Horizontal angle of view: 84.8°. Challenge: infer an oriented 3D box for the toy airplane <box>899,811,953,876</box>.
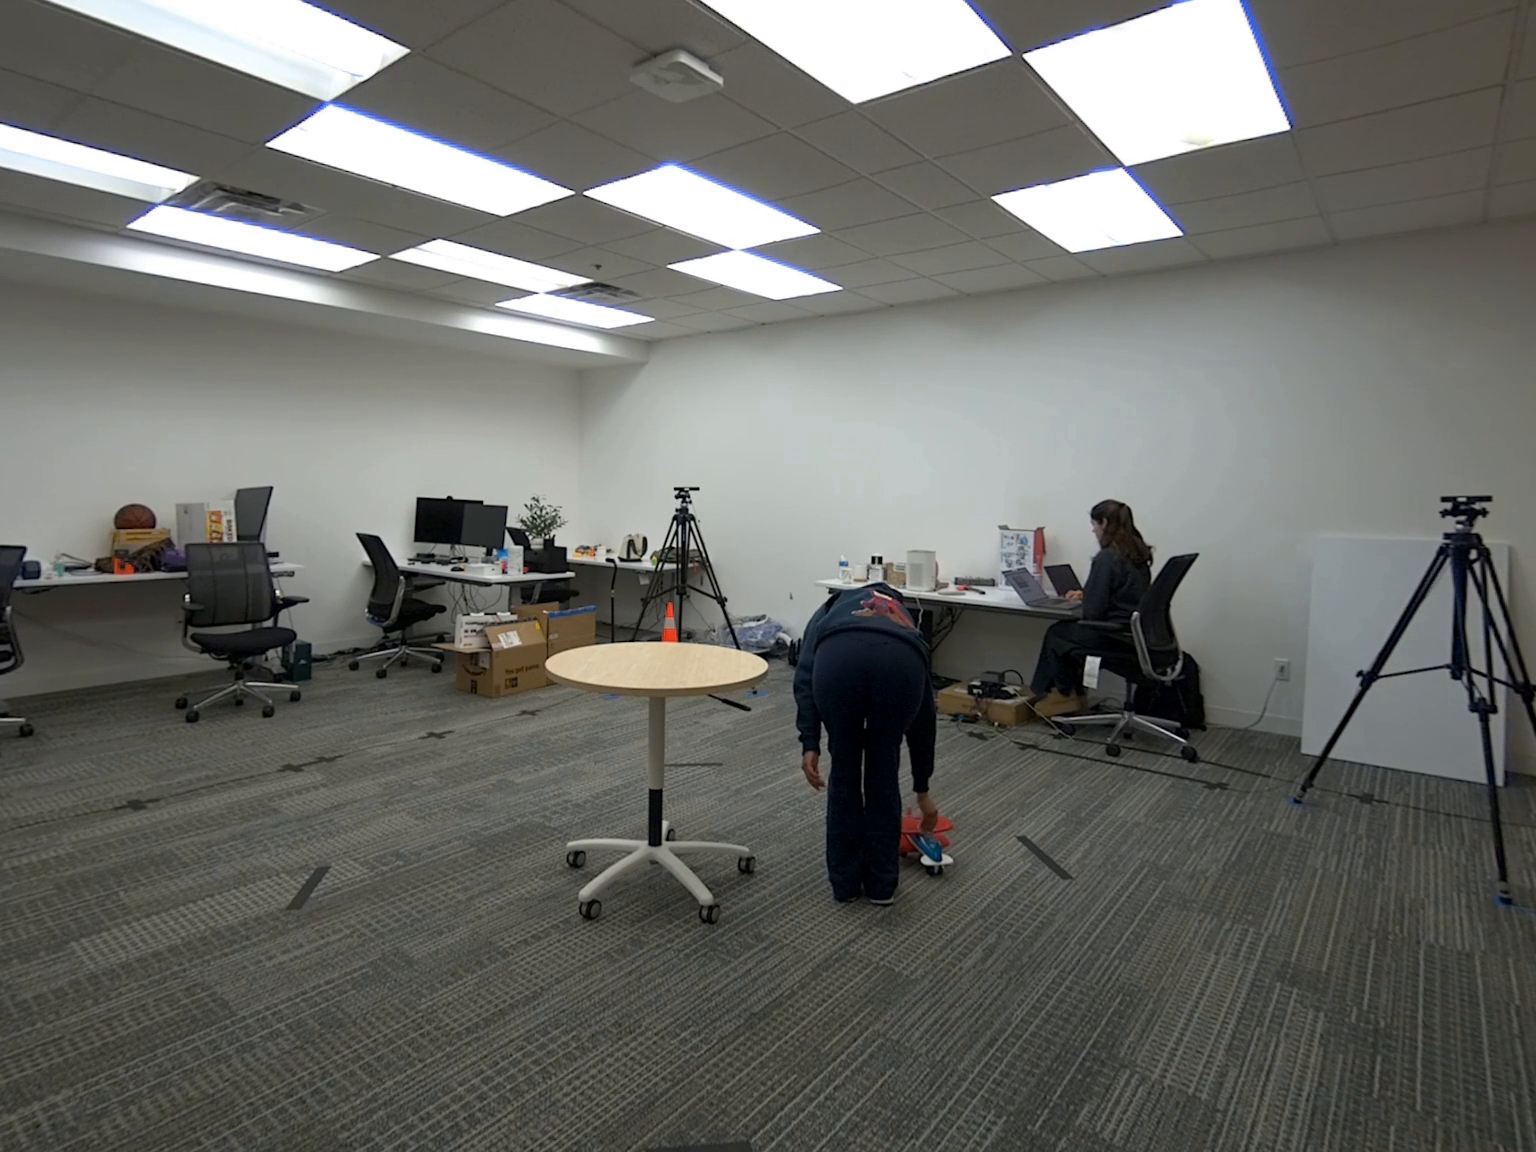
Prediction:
[{"bbox_3d":[0.593,1.000,3.200,0.244,0.156,0.268,-5,9,-44],"label":"toy airplane"}]
